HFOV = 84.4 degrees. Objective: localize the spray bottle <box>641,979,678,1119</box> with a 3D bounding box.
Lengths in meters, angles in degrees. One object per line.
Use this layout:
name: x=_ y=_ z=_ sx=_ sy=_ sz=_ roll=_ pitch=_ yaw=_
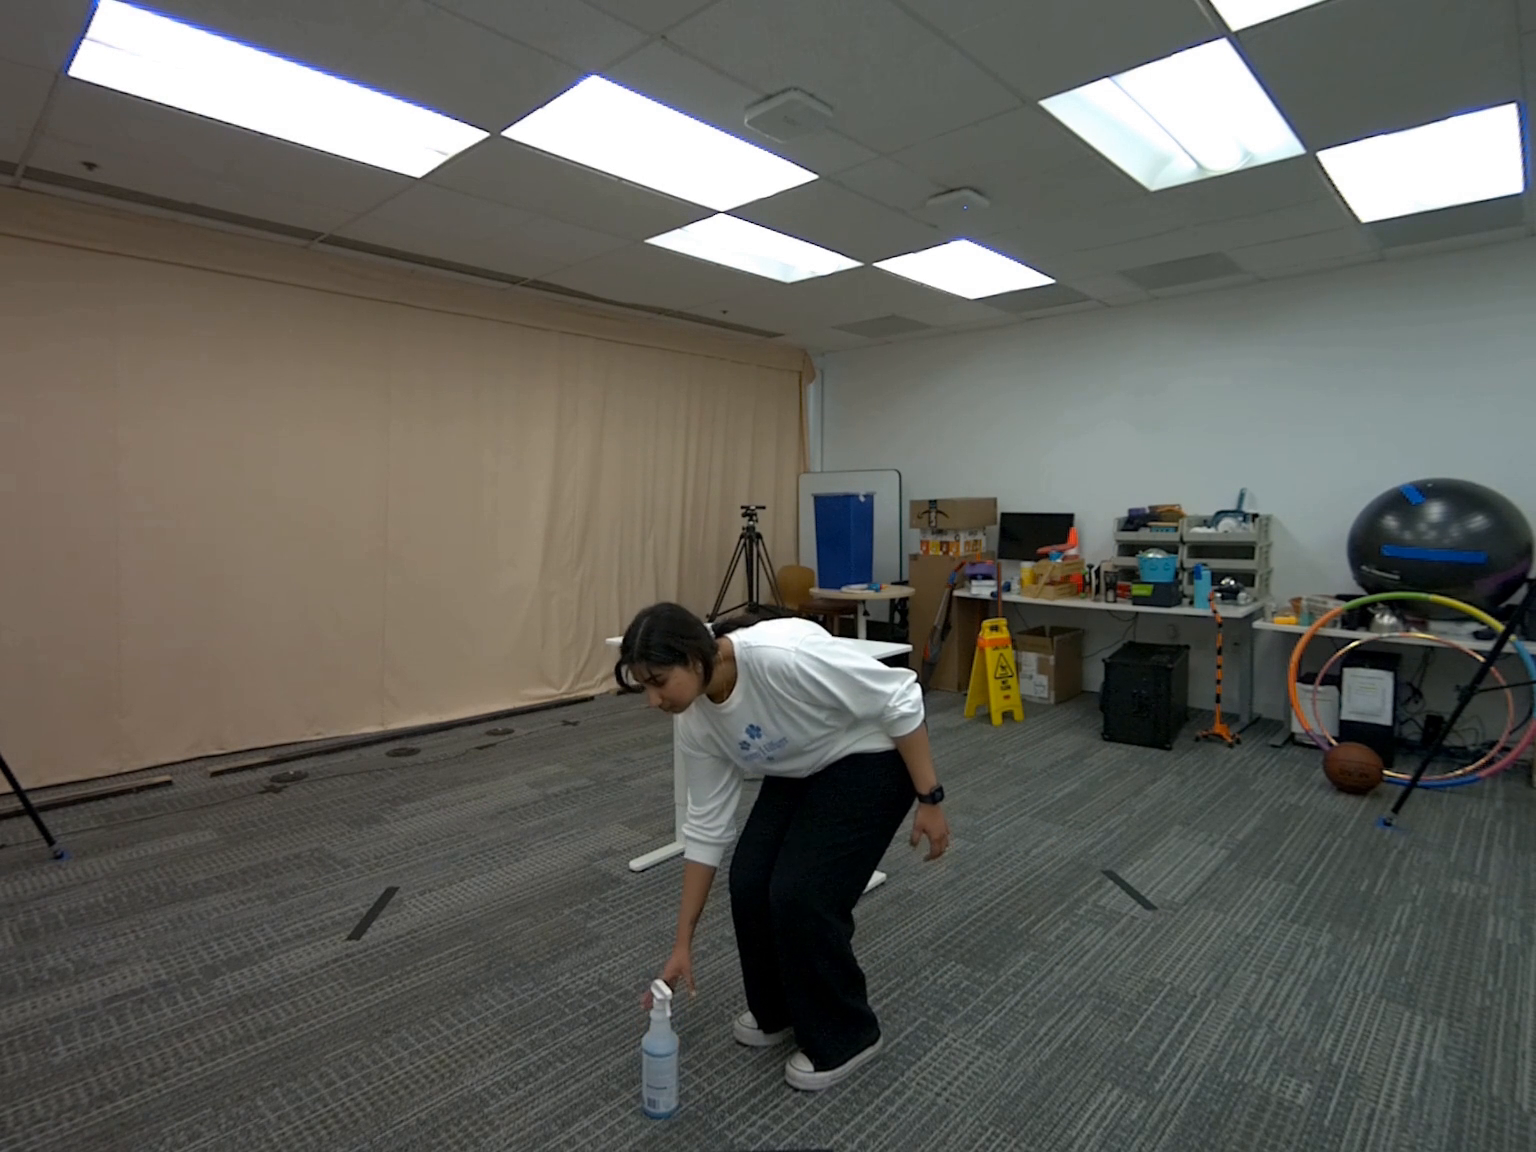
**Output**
spray bottle: x=-0.237 y=1.088 z=1.947 sx=0.087 sy=0.297 sz=0.090 roll=1 pitch=2 yaw=-5
